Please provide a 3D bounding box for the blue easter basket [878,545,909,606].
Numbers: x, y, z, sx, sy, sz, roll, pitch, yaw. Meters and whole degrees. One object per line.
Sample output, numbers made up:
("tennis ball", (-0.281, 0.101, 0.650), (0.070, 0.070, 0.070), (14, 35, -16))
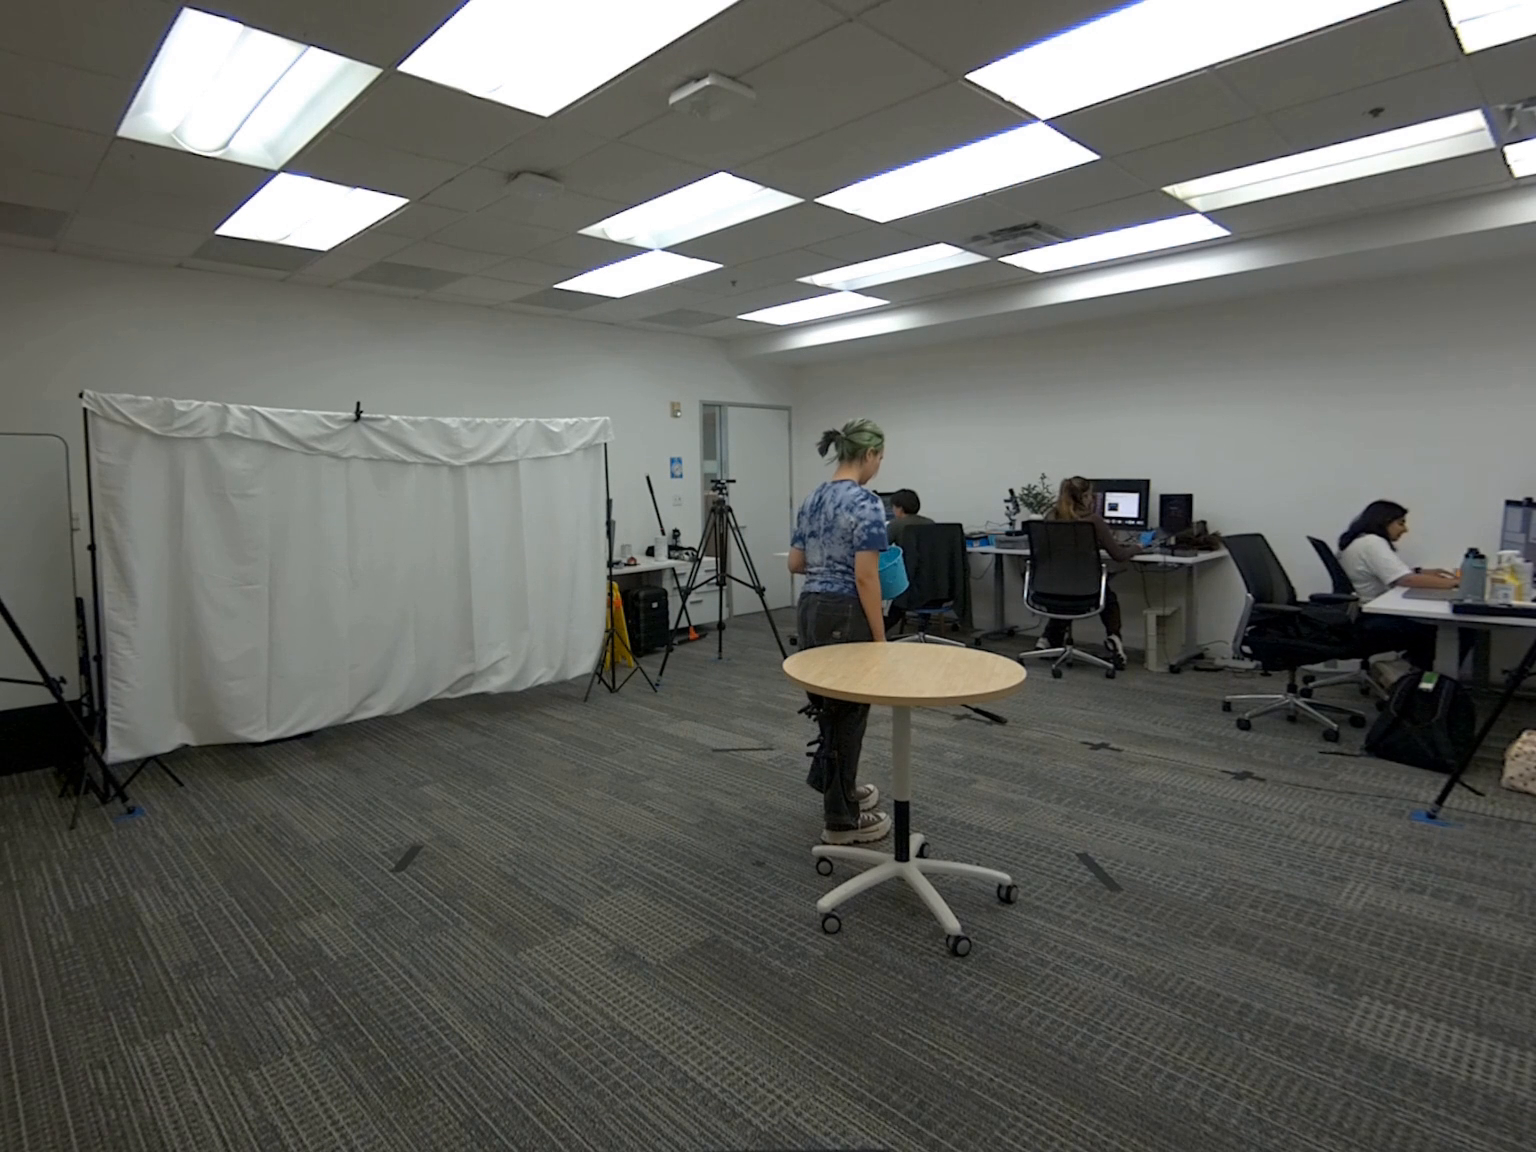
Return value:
("blue easter basket", (0.482, -0.005, 3.684), (0.244, 0.153, 0.248), (-22, 18, 5))
